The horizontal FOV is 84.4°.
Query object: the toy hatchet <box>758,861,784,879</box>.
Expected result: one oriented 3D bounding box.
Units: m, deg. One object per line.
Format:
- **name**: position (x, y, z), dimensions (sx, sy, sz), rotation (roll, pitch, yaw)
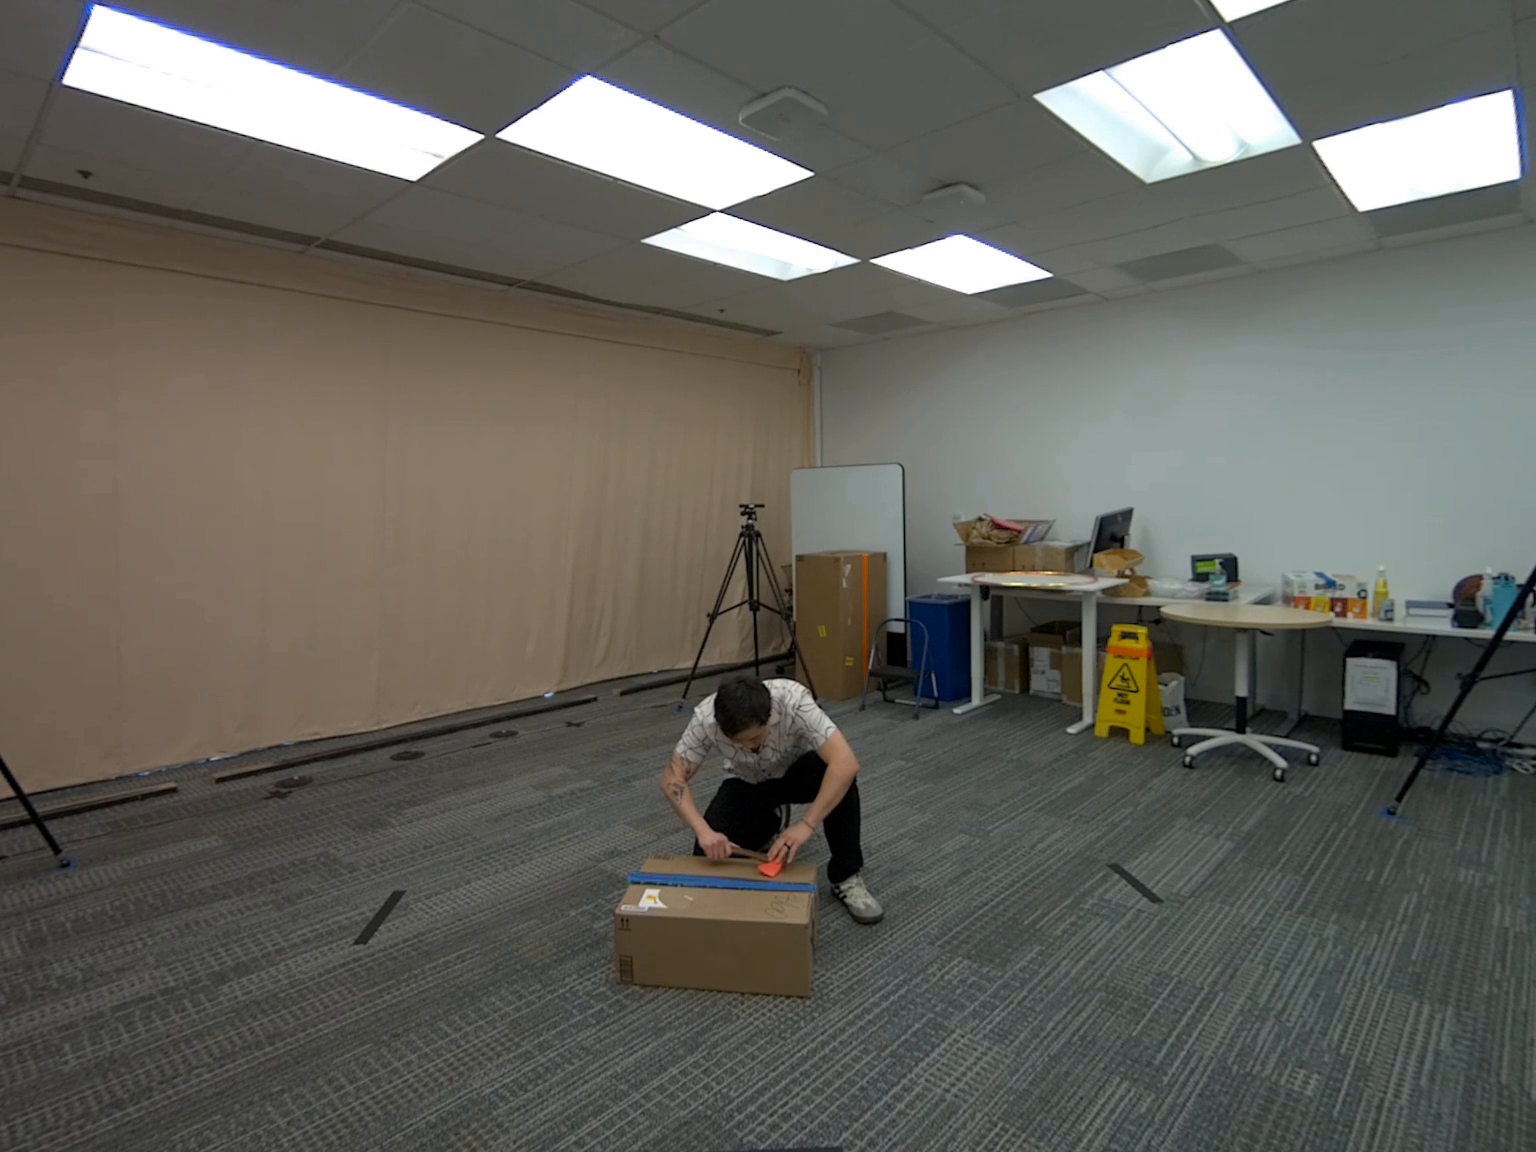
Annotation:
- **toy hatchet**: position (-0.062, 0.921, 2.715), dimensions (0.272, 0.029, 0.132), rotation (-5, 19, 5)
